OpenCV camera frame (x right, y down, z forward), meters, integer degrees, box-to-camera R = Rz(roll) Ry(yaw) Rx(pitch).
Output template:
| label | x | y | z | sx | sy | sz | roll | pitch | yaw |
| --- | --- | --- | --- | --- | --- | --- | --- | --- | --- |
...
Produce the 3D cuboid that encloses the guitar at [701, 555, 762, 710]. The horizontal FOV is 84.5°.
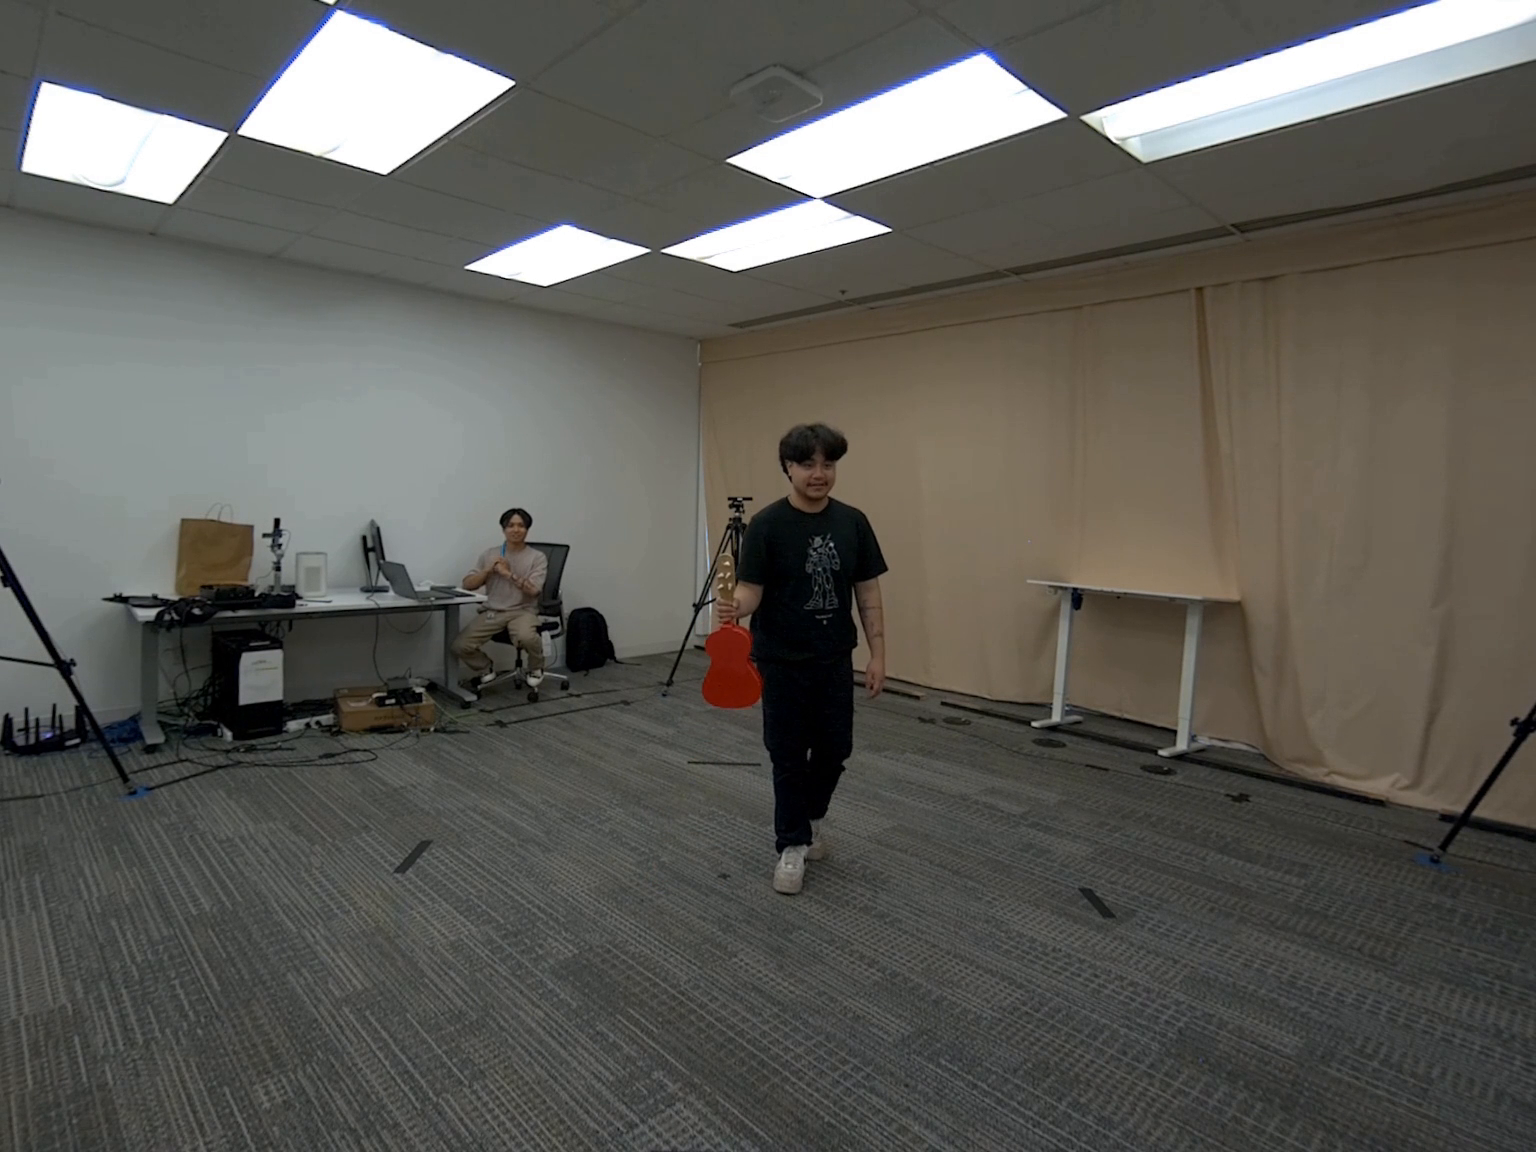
| label | x | y | z | sx | sy | sz | roll | pitch | yaw |
| --- | --- | --- | --- | --- | --- | --- | --- | --- | --- |
| guitar | -0.151 | 0.189 | 2.719 | 0.194 | 0.494 | 0.071 | -11 | 9 | 12 |
